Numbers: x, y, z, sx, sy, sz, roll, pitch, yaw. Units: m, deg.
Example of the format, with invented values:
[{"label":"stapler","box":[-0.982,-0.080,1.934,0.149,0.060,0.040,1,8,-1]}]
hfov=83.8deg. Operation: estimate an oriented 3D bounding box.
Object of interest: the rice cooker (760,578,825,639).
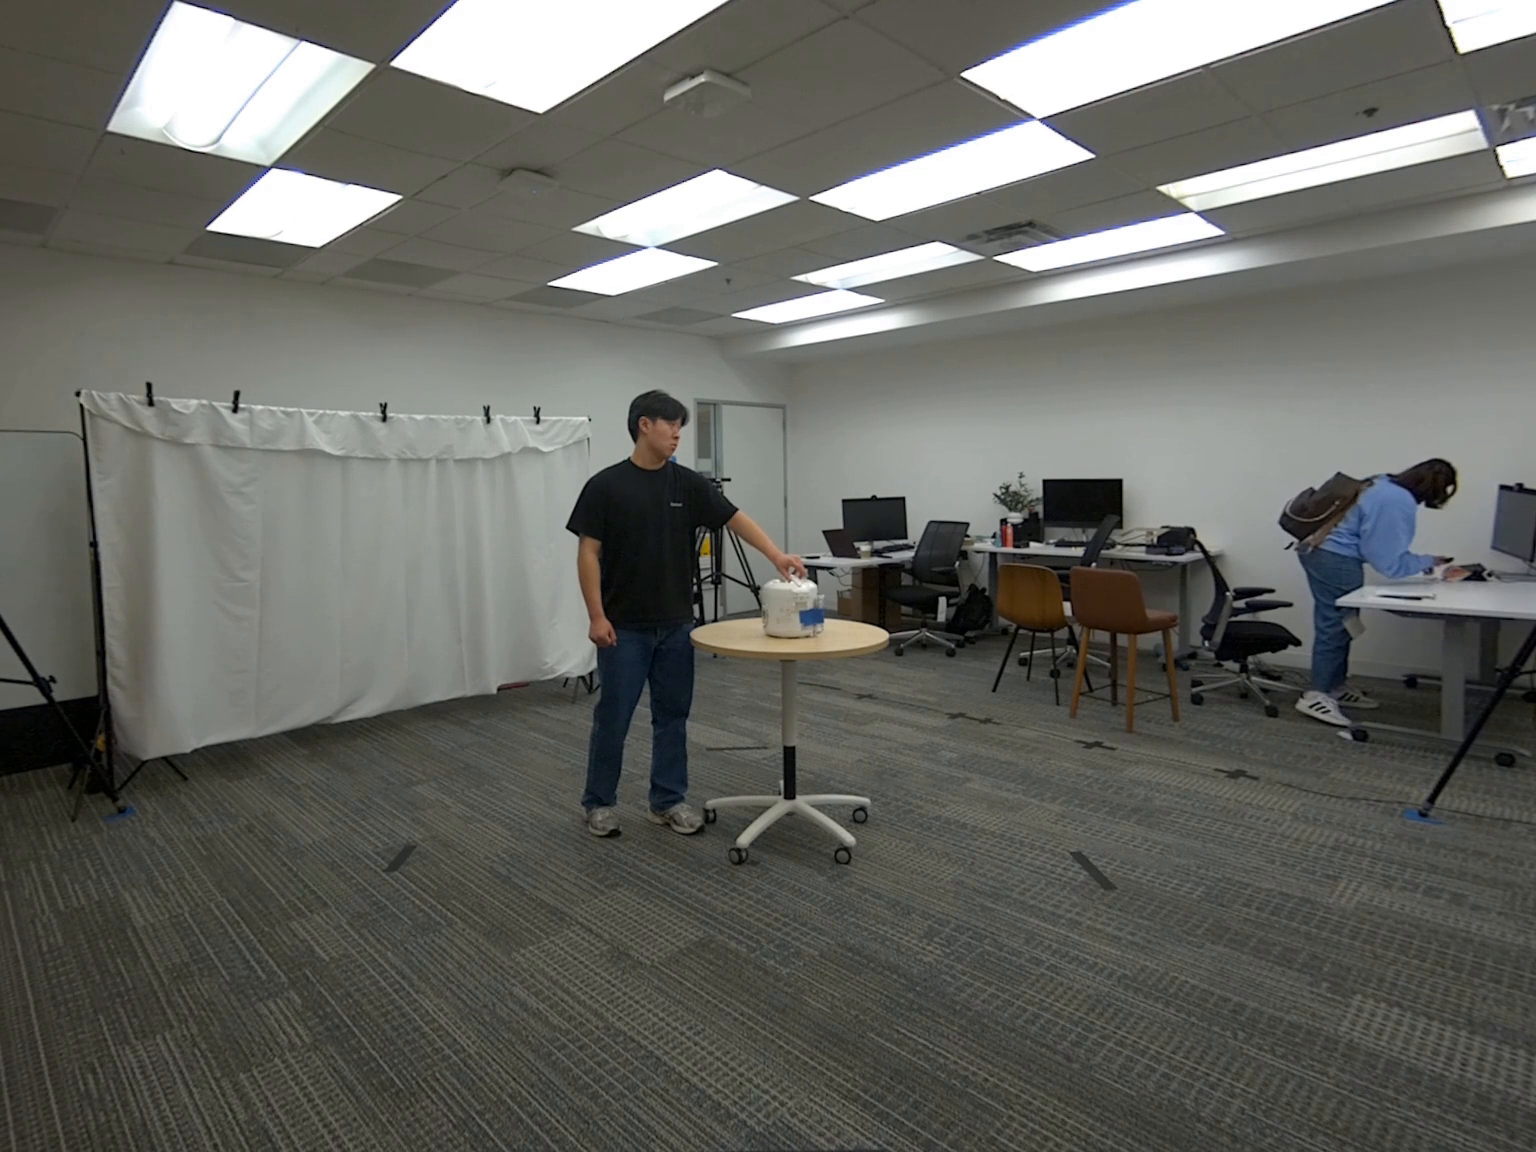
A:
[{"label":"rice cooker","box":[0.092,0.110,3.263,0.214,0.232,0.225,-1,4,-18]}]
